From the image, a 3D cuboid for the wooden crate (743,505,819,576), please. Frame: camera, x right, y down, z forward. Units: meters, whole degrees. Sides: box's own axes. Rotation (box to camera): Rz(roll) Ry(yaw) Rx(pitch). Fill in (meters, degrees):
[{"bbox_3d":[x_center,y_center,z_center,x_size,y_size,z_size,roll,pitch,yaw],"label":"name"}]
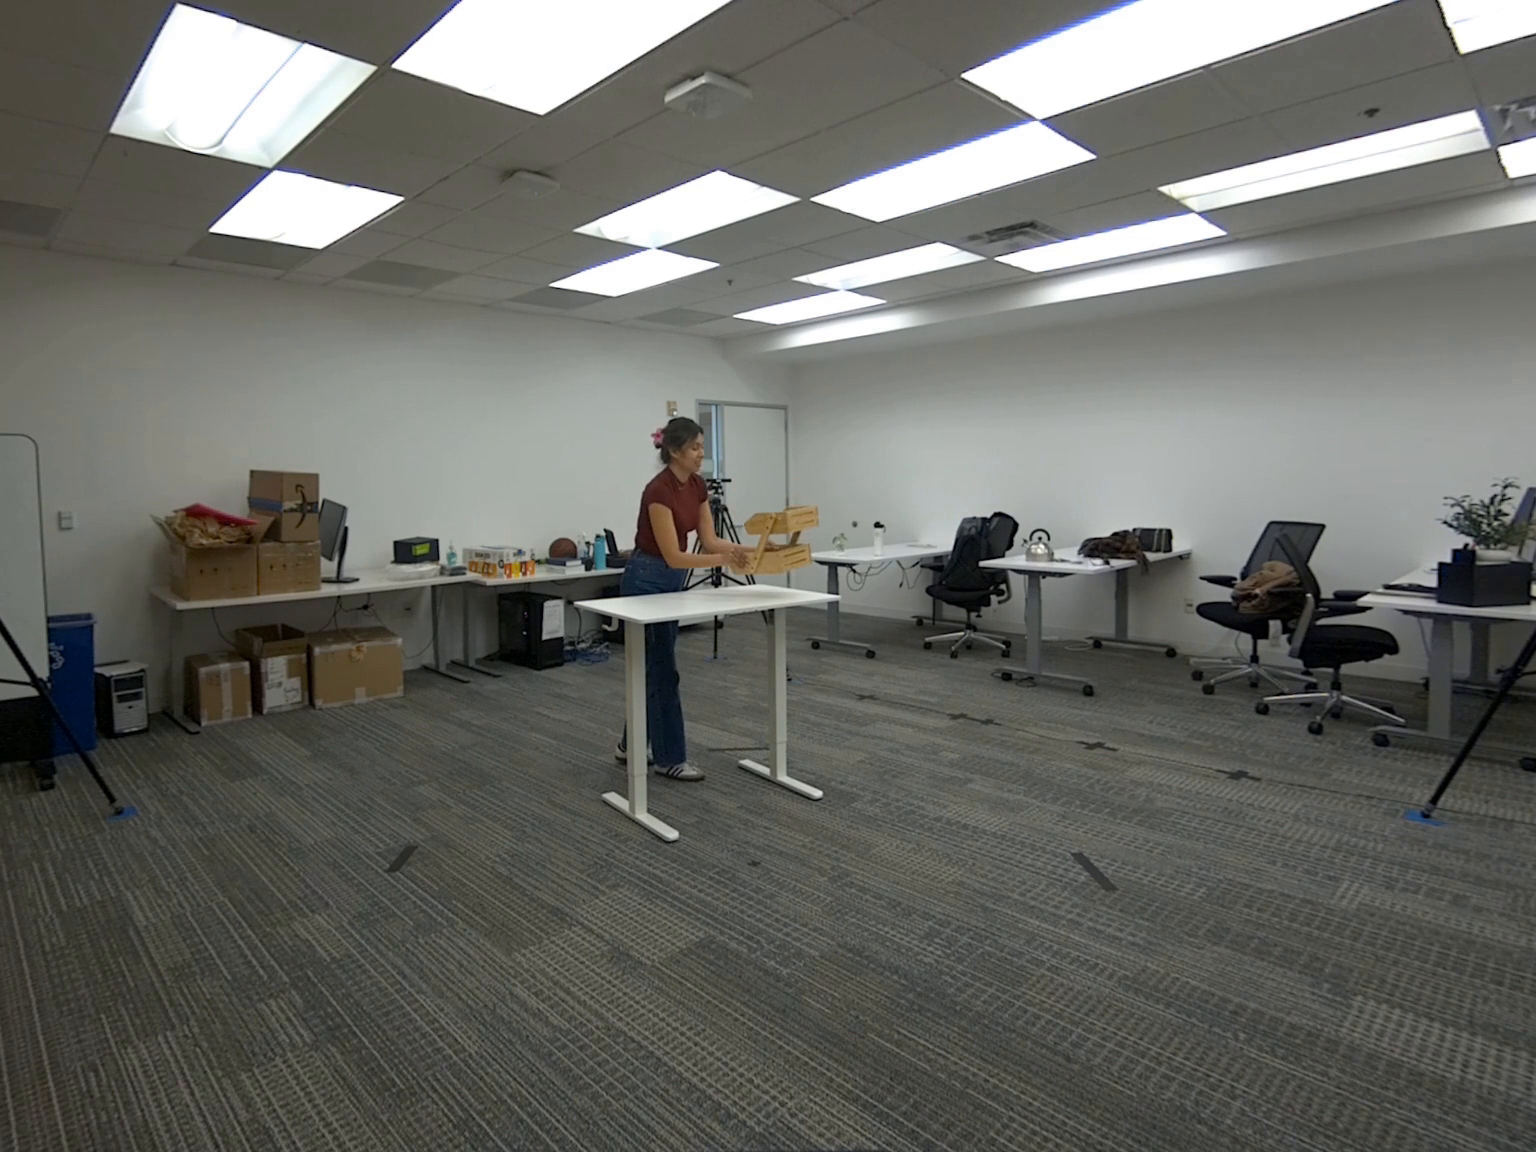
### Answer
[{"bbox_3d":[0.022,-0.167,3.758,0.310,0.272,0.318,-1,7,31],"label":"wooden crate"}]
